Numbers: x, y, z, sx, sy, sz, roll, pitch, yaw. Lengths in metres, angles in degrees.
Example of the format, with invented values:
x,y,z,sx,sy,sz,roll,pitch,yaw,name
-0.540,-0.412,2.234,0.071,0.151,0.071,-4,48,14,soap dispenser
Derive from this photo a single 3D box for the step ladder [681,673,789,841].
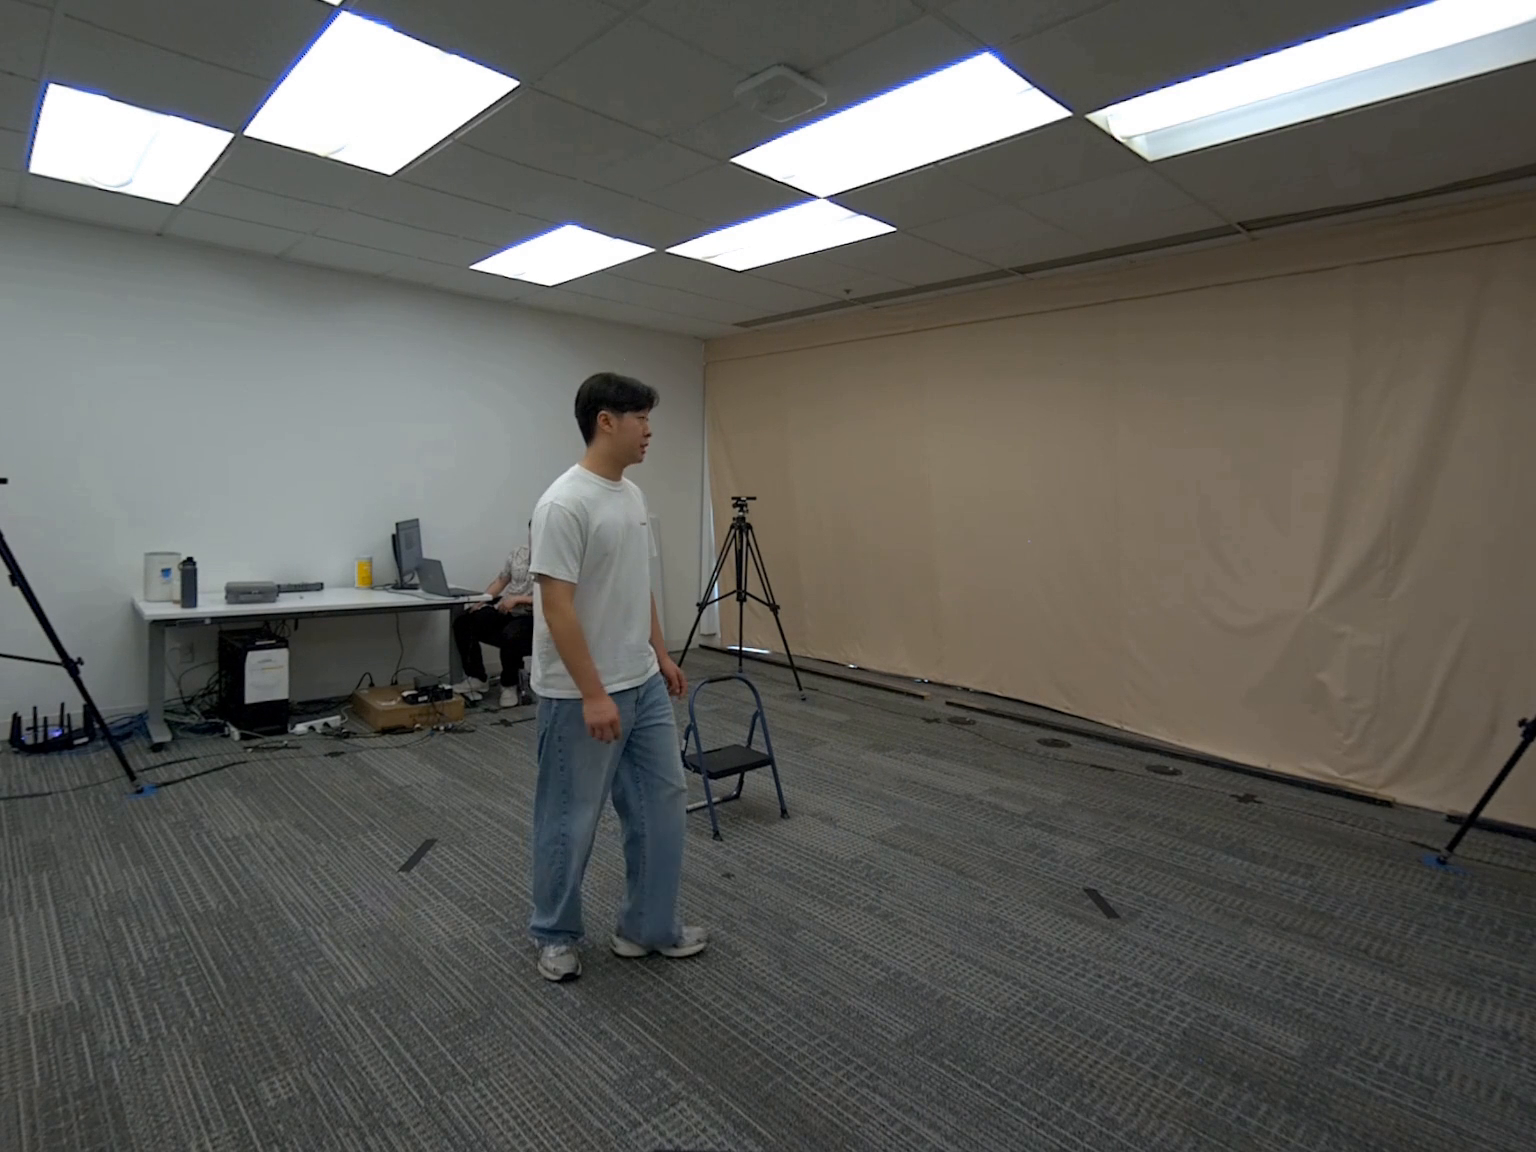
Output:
x,y,z,sx,sy,sz,roll,pitch,yaw,name
-0.172,0.750,3.670,0.420,0.605,0.358,-1,5,-44,step ladder
